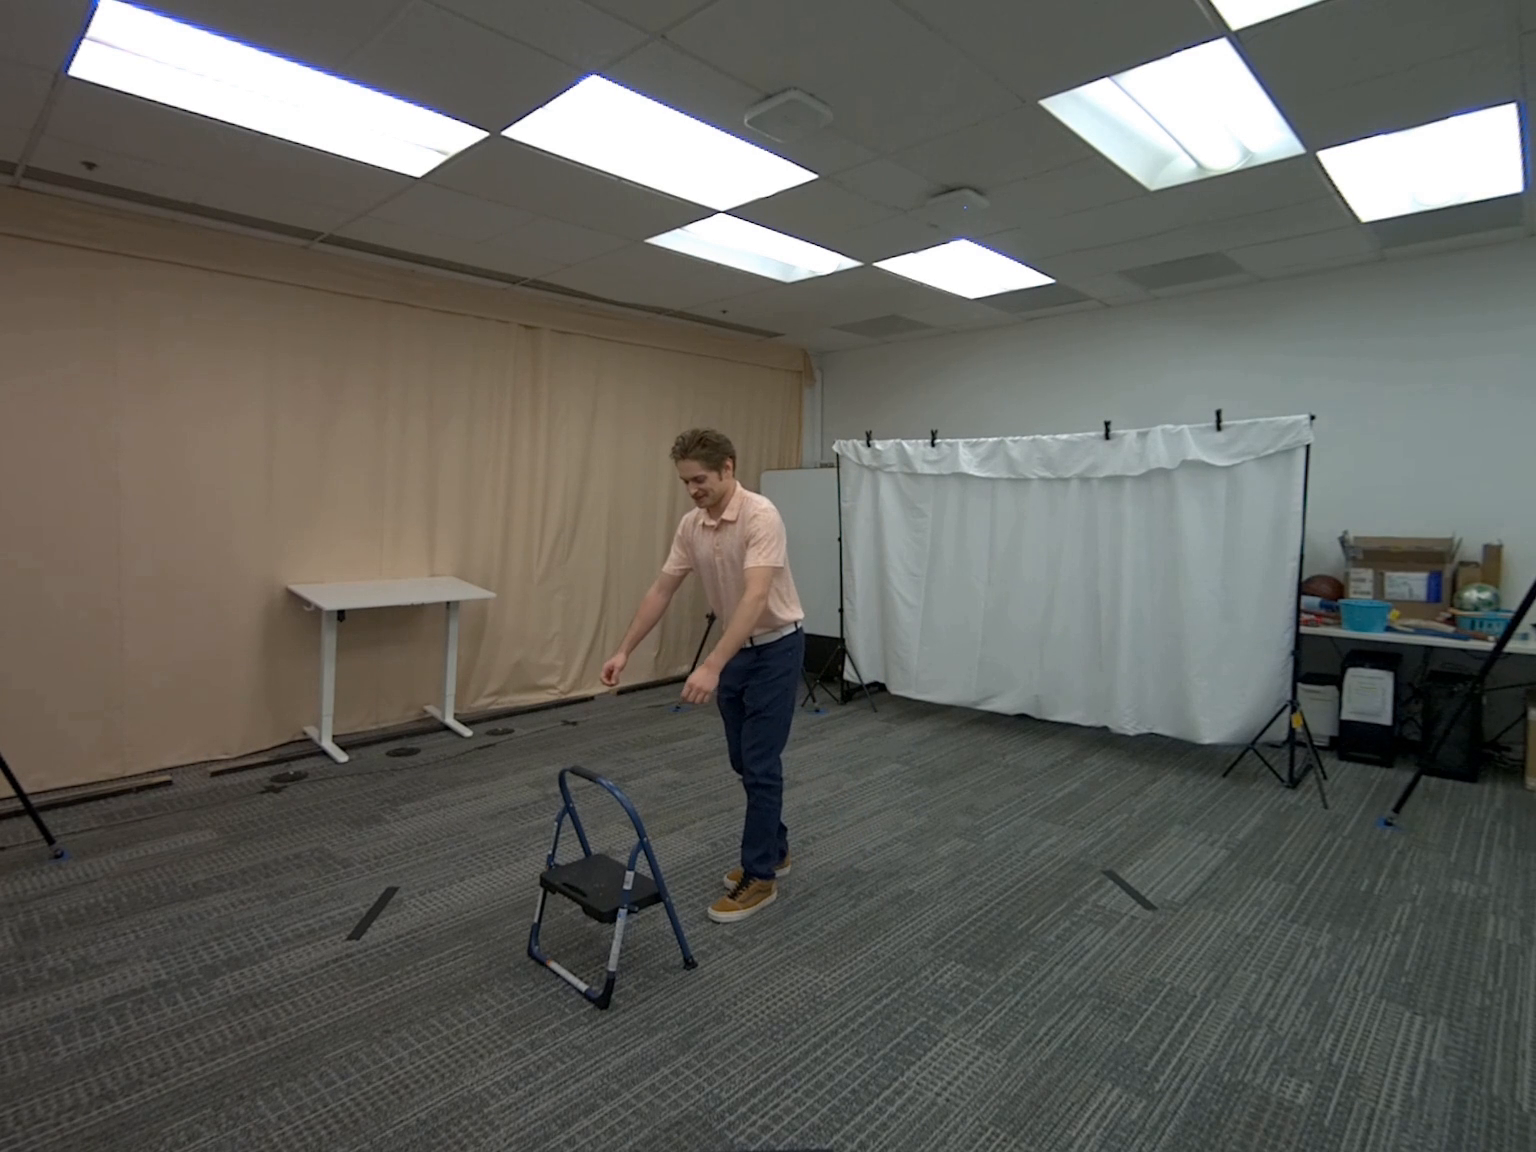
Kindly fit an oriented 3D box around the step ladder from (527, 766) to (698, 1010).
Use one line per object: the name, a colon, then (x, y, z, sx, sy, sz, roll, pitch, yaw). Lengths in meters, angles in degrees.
step ladder: (-0.484, 0.880, 2.569, 0.445, 0.605, 0.338, 2, 4, 44)
